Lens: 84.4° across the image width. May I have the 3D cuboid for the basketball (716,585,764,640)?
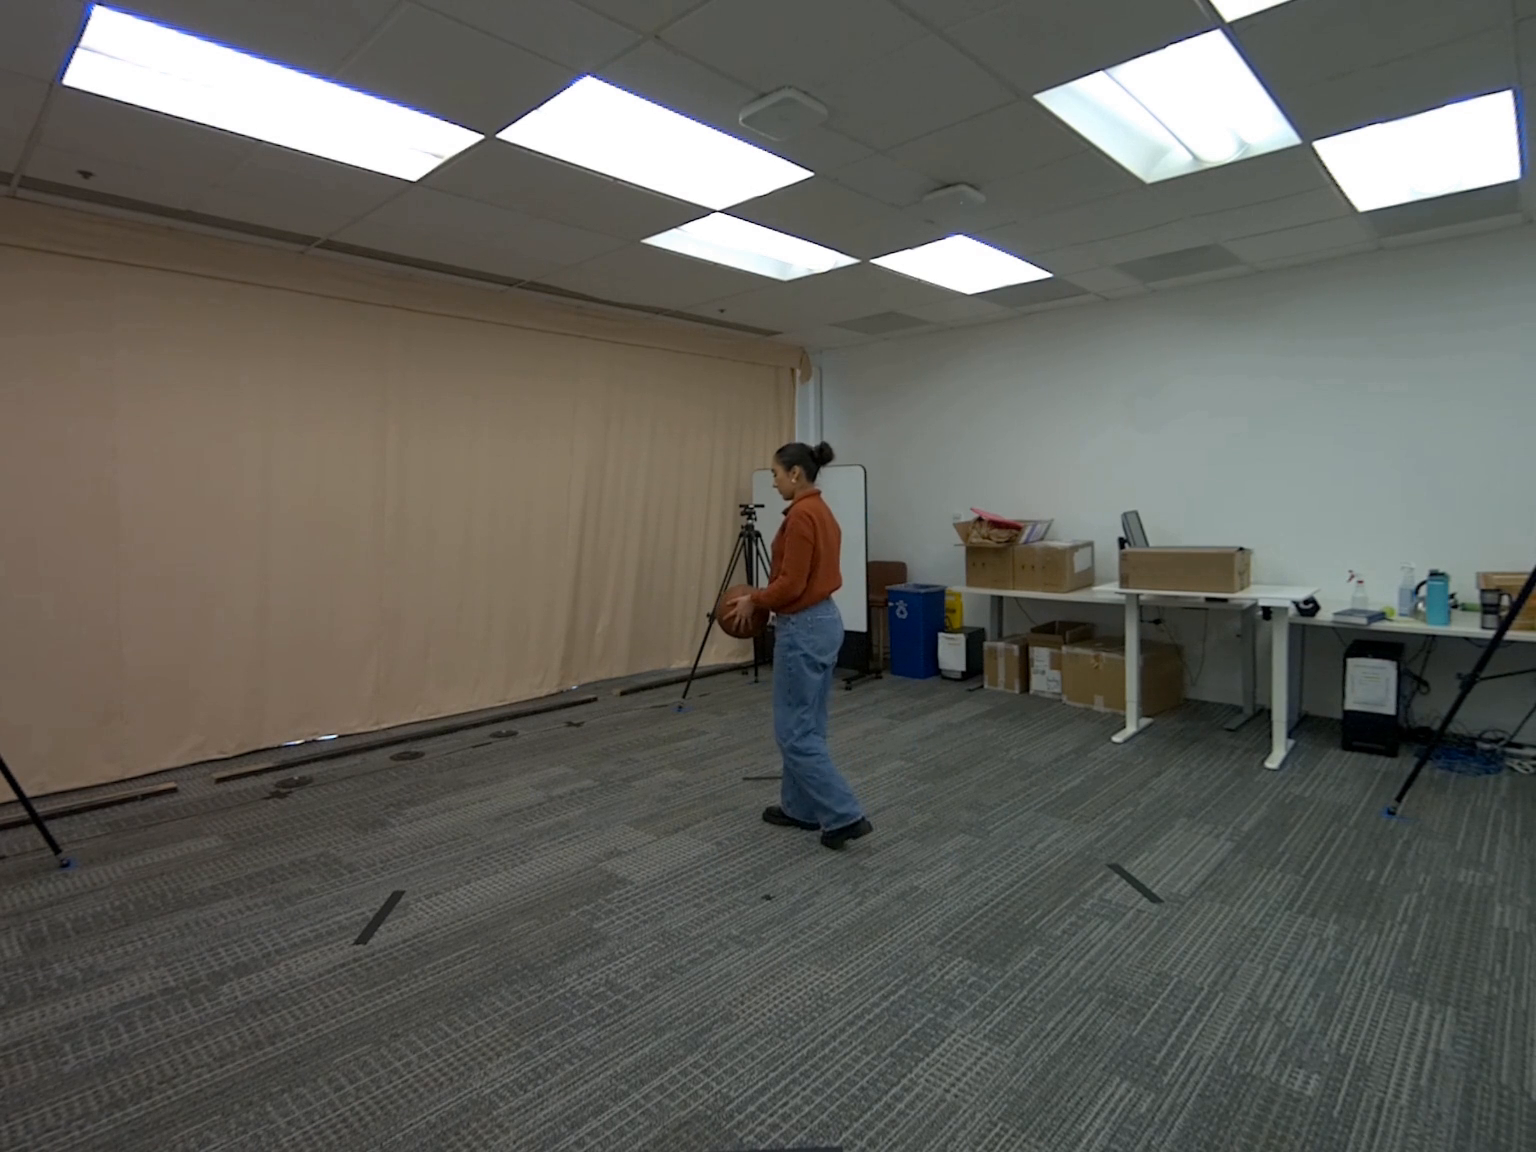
[{"bbox_3d":[-0.106,0.152,3.634,0.236,0.235,0.237,-1,4,-2],"label":"basketball"}]
